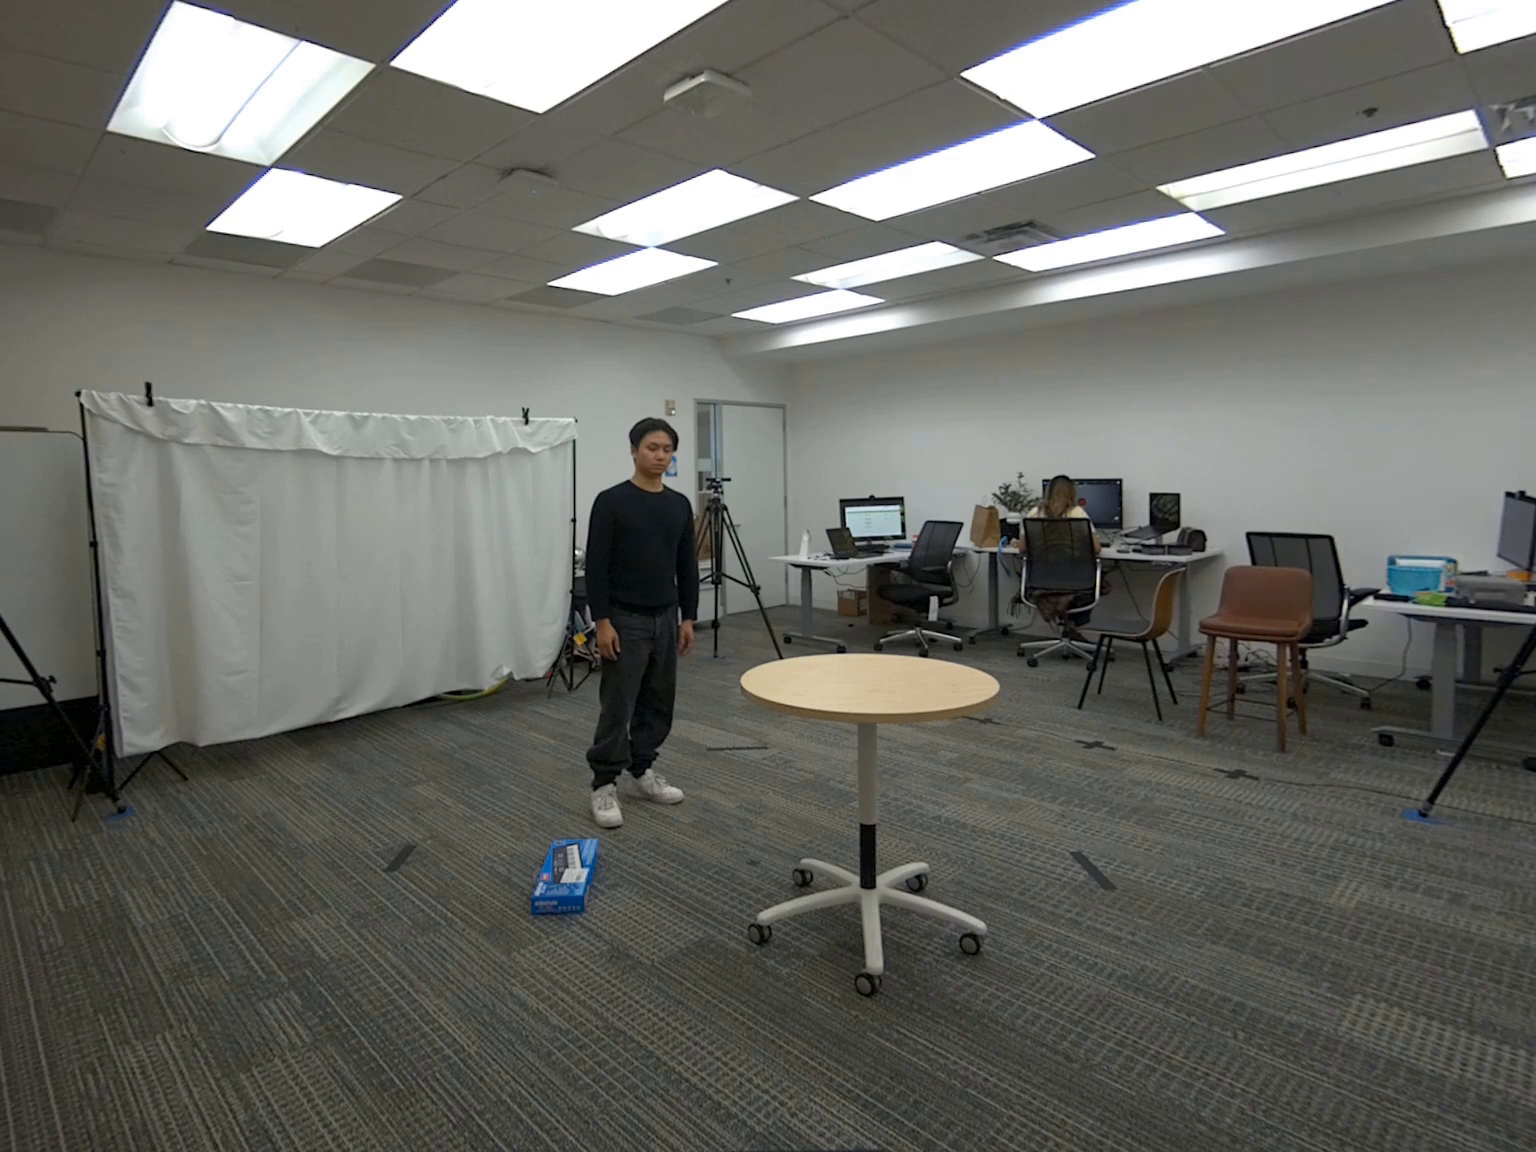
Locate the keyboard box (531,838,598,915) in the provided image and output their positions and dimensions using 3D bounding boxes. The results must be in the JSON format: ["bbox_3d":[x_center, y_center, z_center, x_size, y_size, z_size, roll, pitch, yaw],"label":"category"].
[{"bbox_3d":[-0.702,1.044,2.980,0.175,0.059,0.440,-2,7,-4],"label":"keyboard box"}]
